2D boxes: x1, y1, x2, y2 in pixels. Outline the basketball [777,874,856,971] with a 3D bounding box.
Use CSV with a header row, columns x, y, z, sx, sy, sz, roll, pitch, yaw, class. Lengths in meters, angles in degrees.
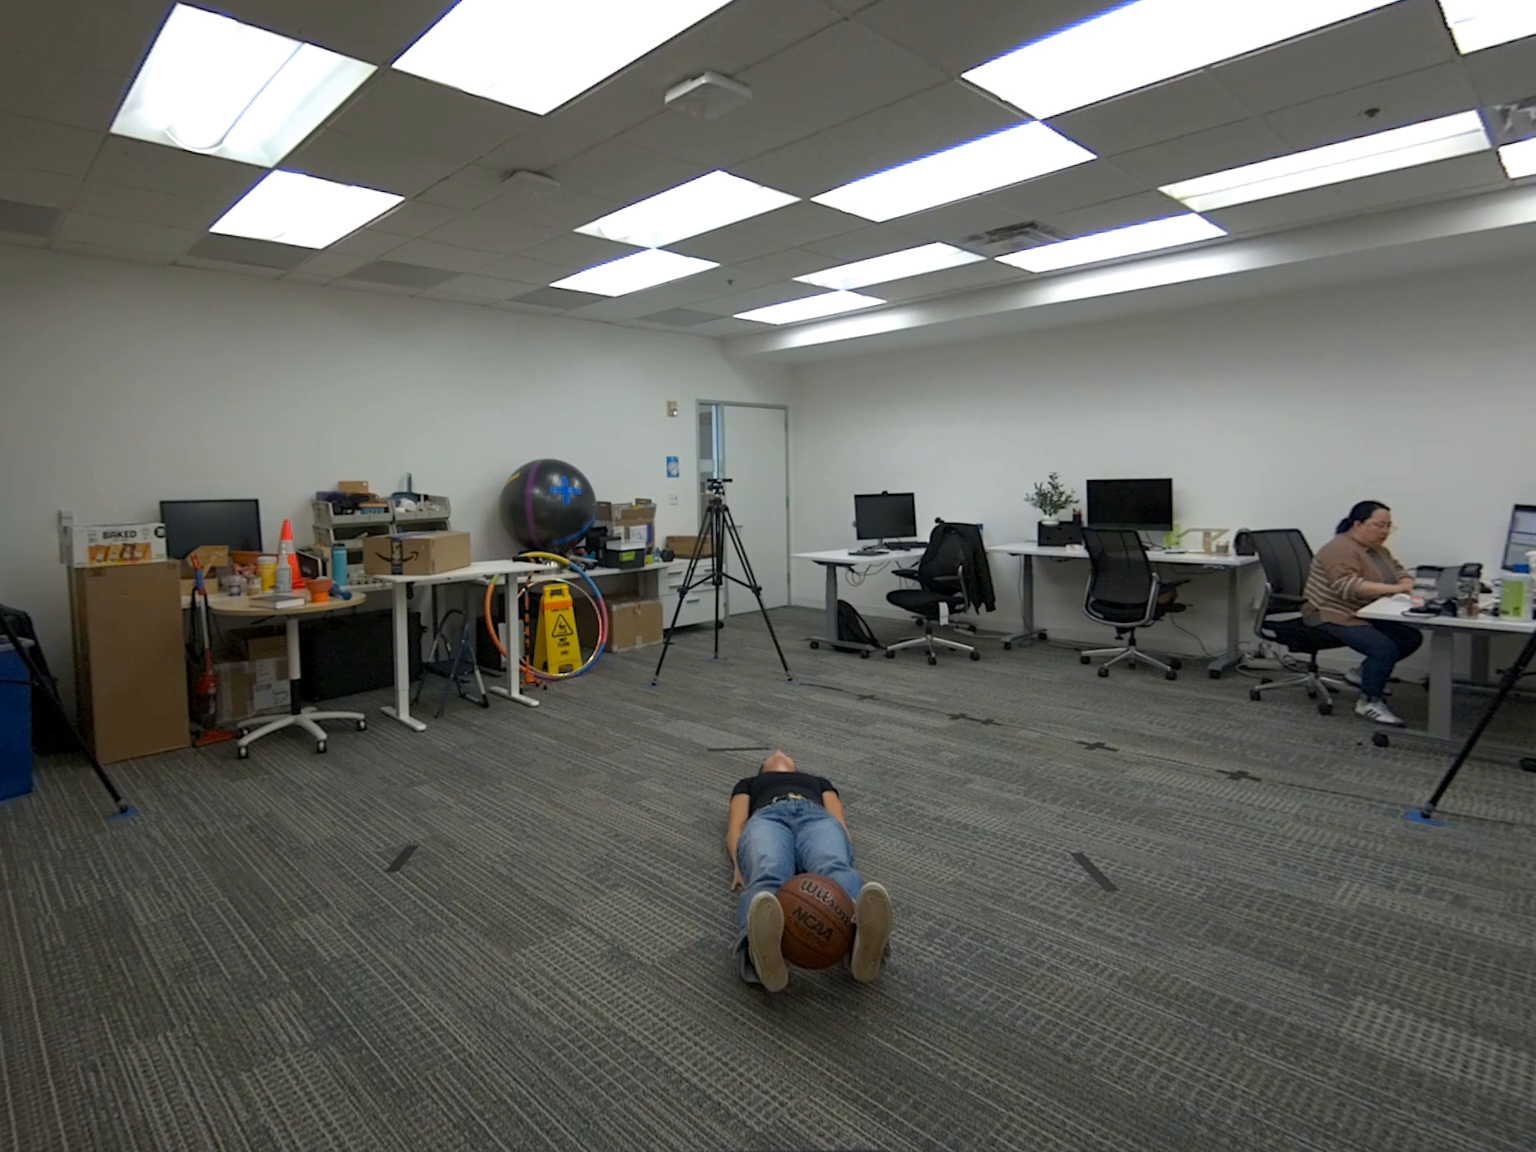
x,y,z,sx,sy,sz,roll,pitch,yaw,class
0.130,0.930,2.322,0.236,0.235,0.237,-1,5,-2,basketball
